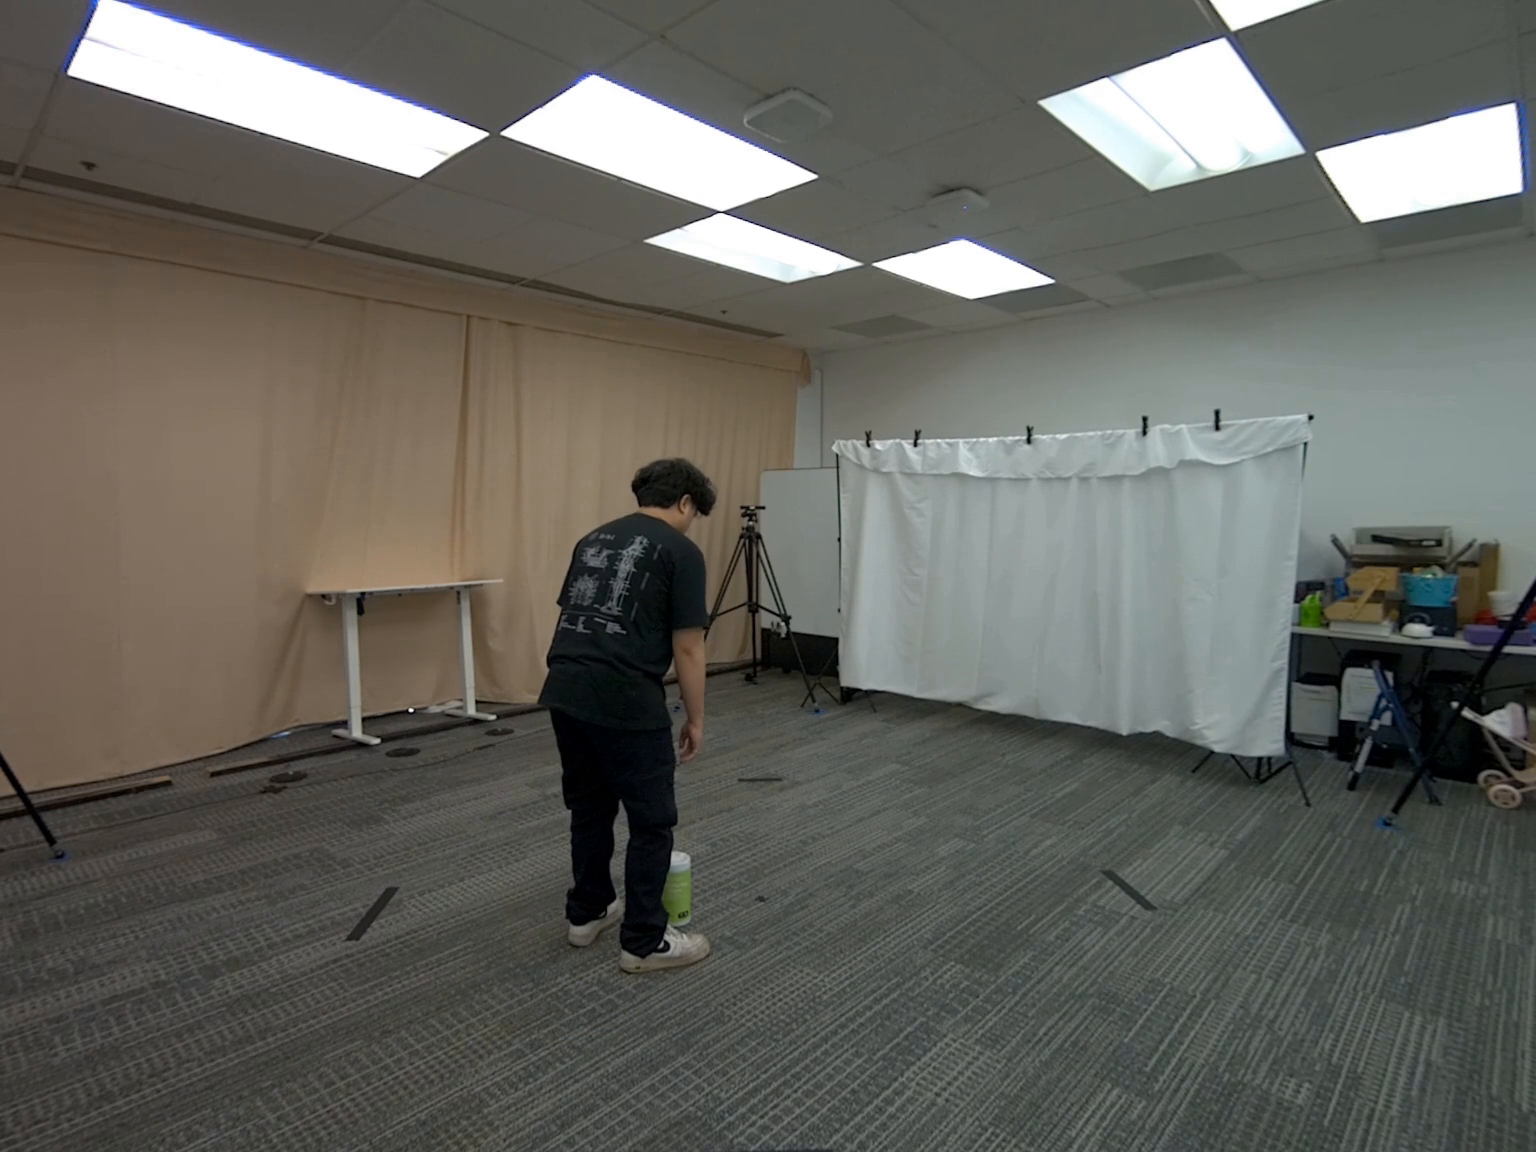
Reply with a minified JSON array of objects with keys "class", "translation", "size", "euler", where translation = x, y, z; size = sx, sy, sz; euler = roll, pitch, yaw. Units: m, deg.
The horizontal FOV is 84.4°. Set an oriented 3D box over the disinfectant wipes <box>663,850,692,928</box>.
[{"class":"disinfectant wipes","translation":[-0.318,1.053,2.825],"size":[0.118,0.217,0.118],"euler":[0,2,-2]}]
